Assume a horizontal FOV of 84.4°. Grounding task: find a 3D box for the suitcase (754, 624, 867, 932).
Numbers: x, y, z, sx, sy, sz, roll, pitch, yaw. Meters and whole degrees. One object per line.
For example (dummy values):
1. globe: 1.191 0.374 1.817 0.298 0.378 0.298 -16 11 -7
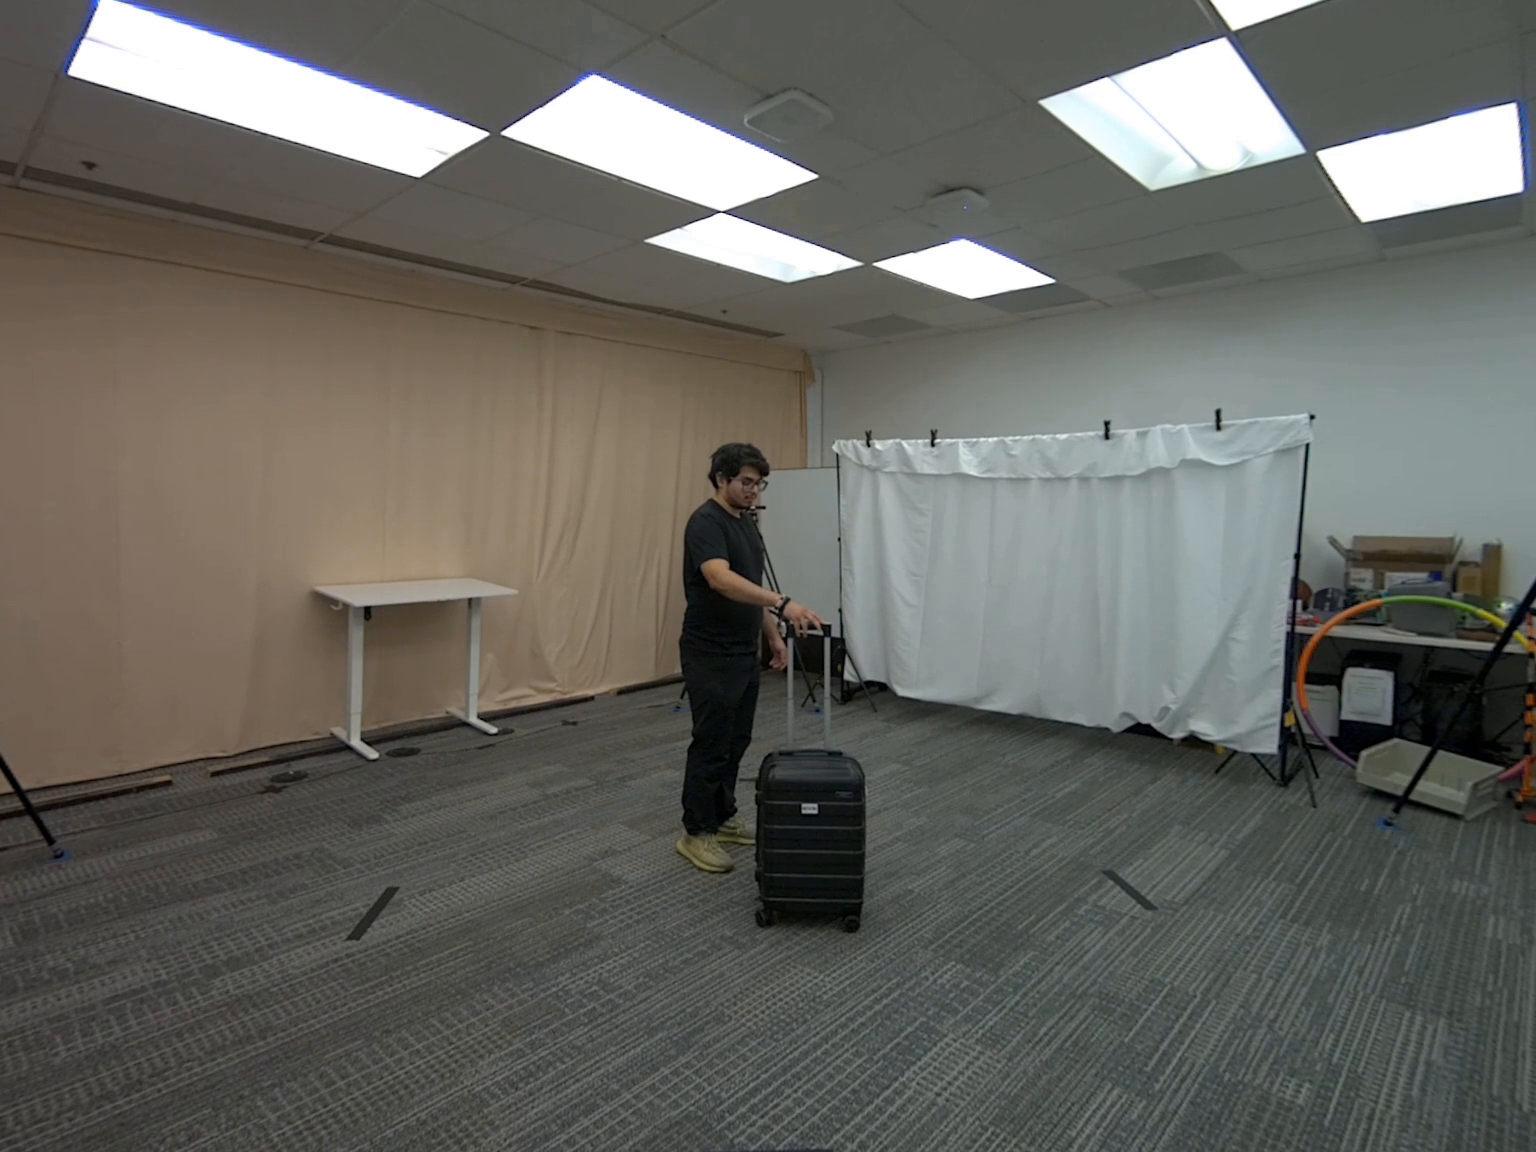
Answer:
1. suitcase: 0.152 0.680 2.848 0.385 0.976 0.257 0 5 2
